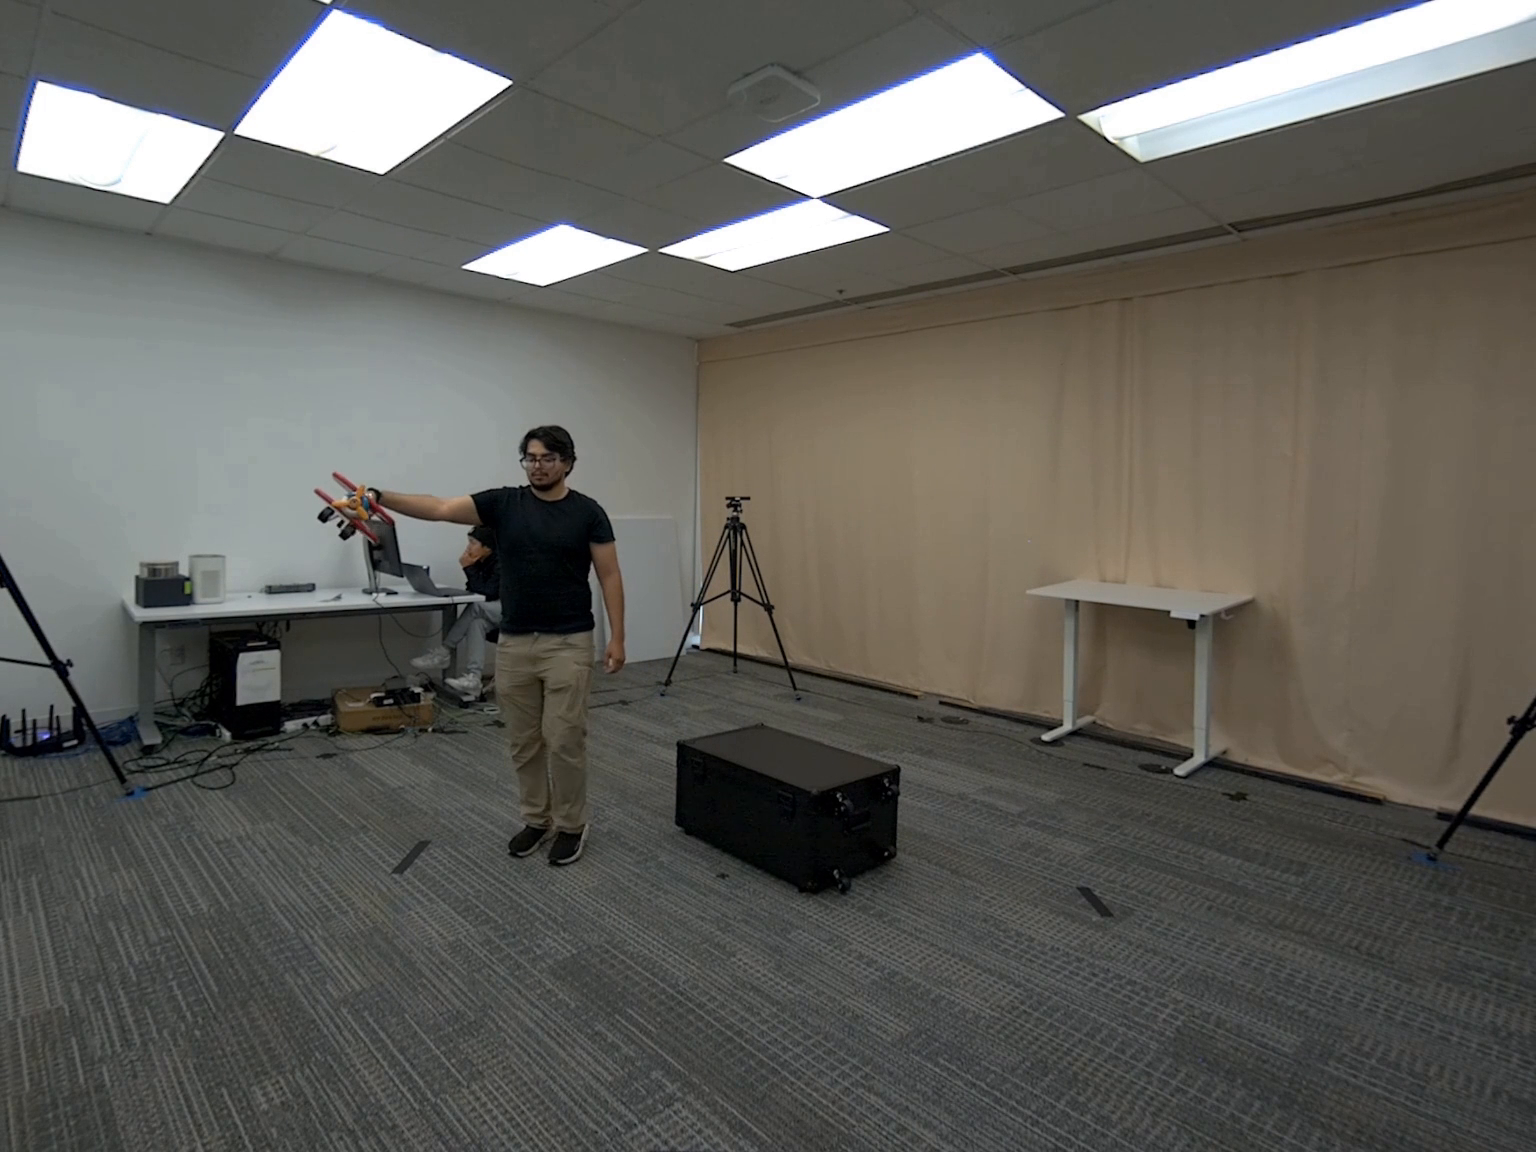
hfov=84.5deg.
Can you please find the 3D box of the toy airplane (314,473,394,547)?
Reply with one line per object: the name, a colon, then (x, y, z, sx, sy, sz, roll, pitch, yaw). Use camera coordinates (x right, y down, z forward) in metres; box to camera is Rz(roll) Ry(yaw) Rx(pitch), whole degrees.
toy airplane: (-1.423, -0.224, 2.812, 0.267, 0.156, 0.243, 31, -15, 47)
